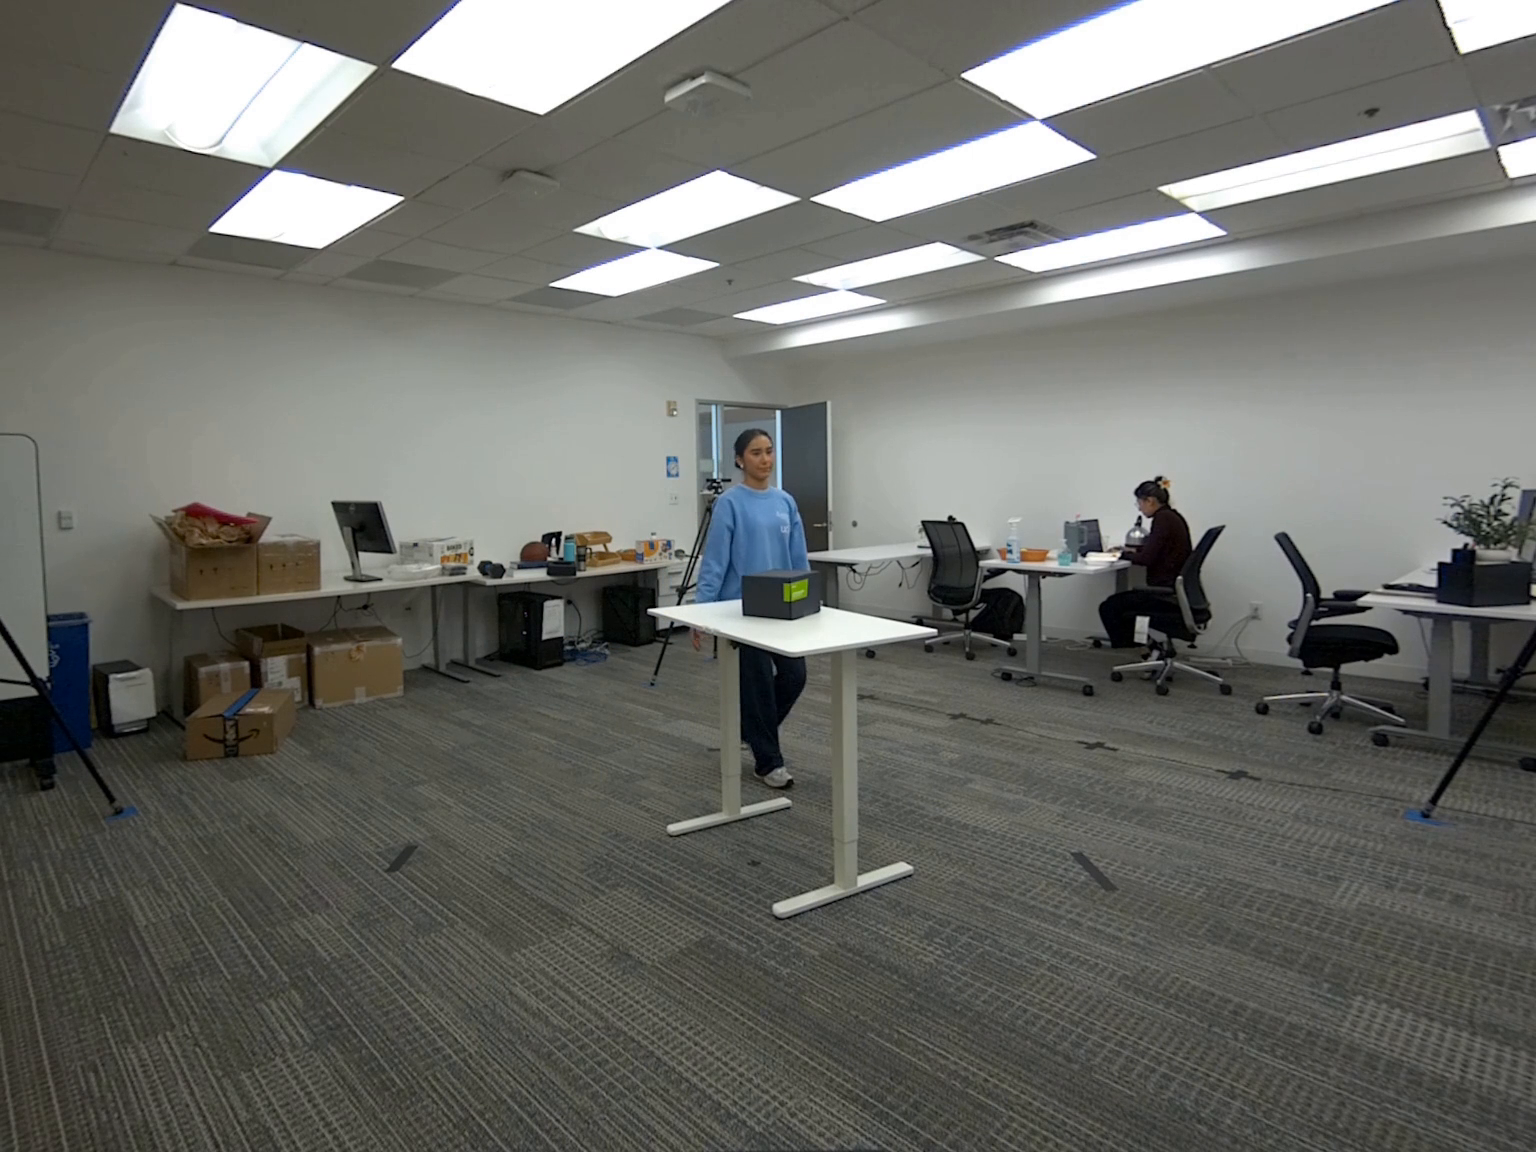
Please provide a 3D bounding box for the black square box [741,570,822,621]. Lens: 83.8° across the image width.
[{"bbox_3d":[0.052,0.067,3.230,0.223,0.155,0.223,2,7,33],"label":"black square box"}]
